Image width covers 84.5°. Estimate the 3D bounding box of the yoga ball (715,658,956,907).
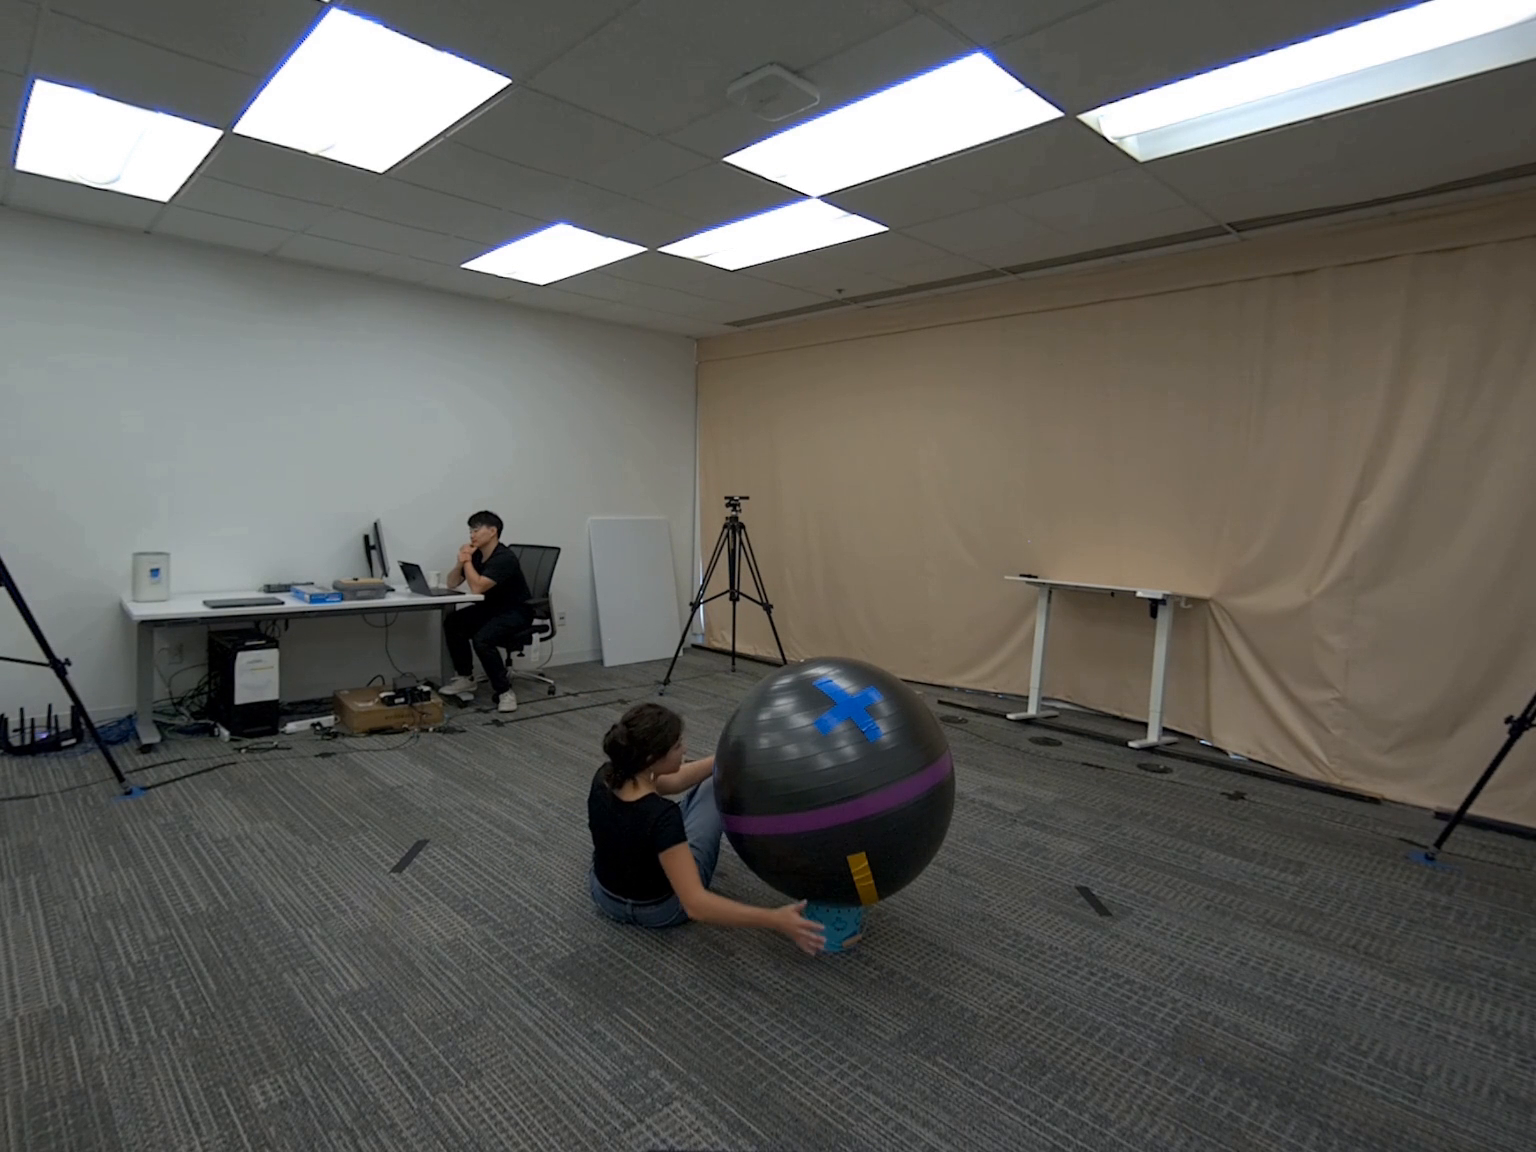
[{"bbox_3d":[0.203,0.645,2.654,0.757,0.756,0.761,1,4,-1],"label":"yoga ball"}]
